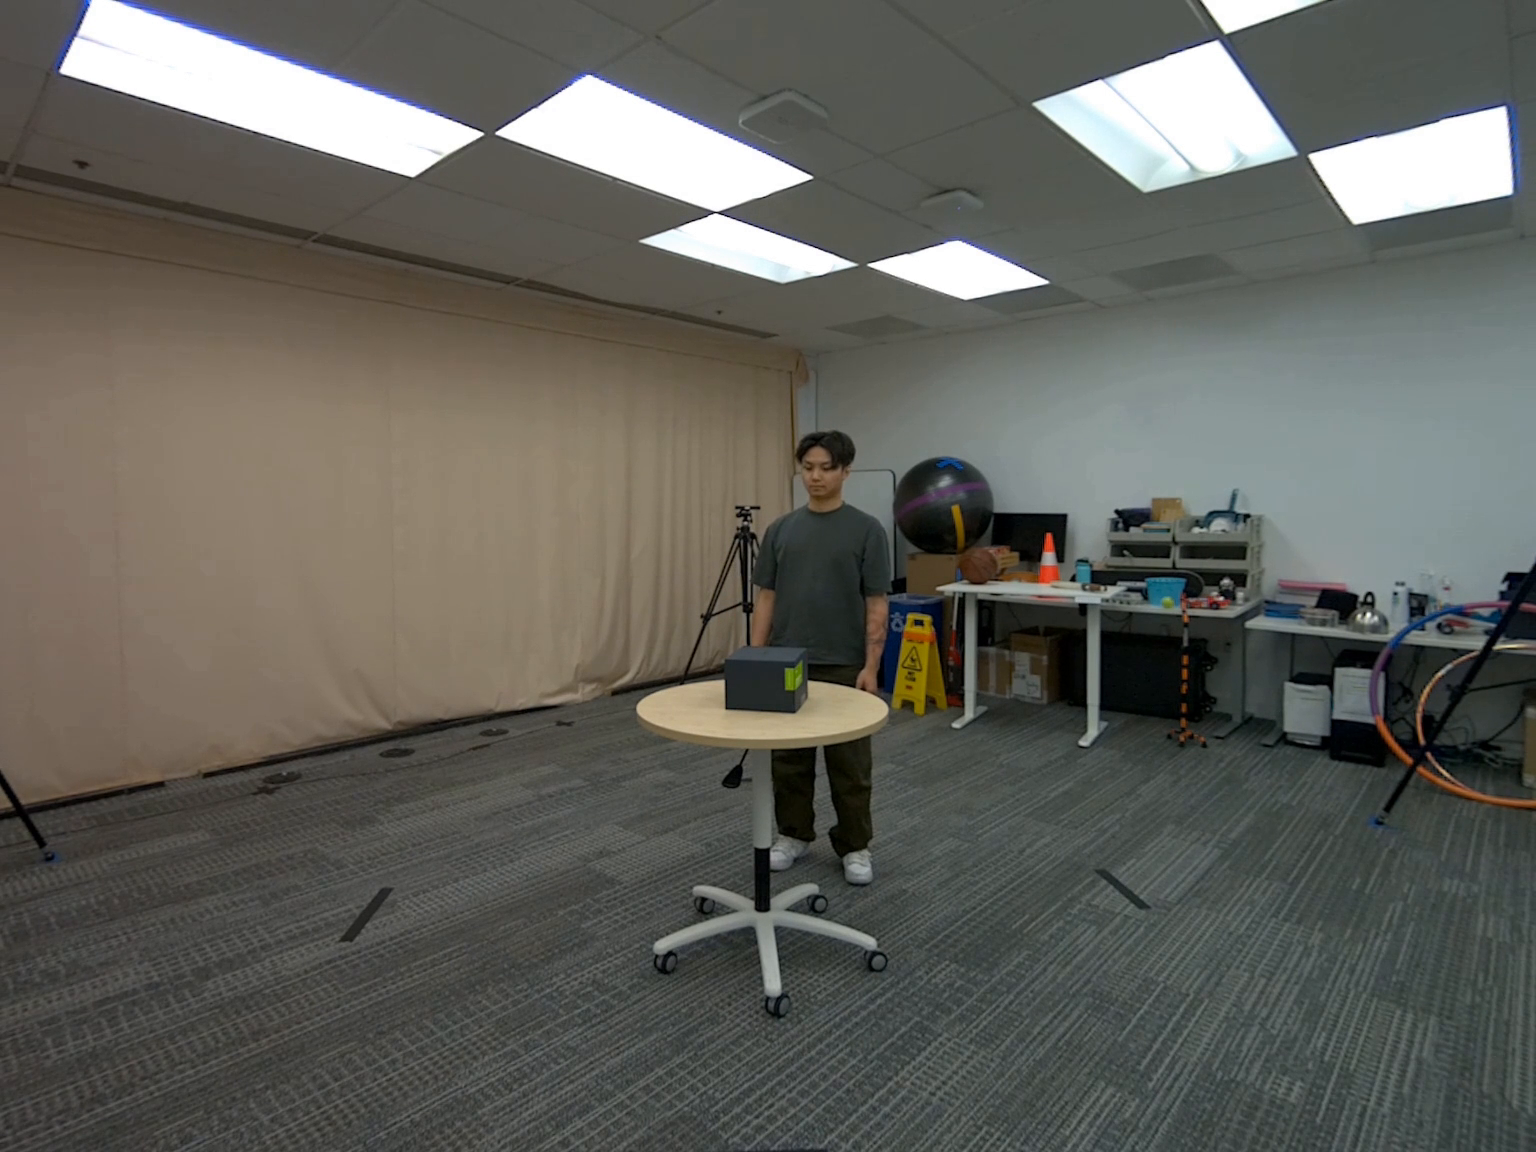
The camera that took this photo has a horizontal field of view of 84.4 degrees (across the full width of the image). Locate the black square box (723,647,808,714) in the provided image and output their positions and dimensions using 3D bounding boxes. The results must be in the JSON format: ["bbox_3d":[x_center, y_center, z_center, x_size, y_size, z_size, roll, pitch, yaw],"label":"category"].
[{"bbox_3d":[-0.001,0.309,2.599,0.220,0.155,0.225,0,5,14],"label":"black square box"}]
